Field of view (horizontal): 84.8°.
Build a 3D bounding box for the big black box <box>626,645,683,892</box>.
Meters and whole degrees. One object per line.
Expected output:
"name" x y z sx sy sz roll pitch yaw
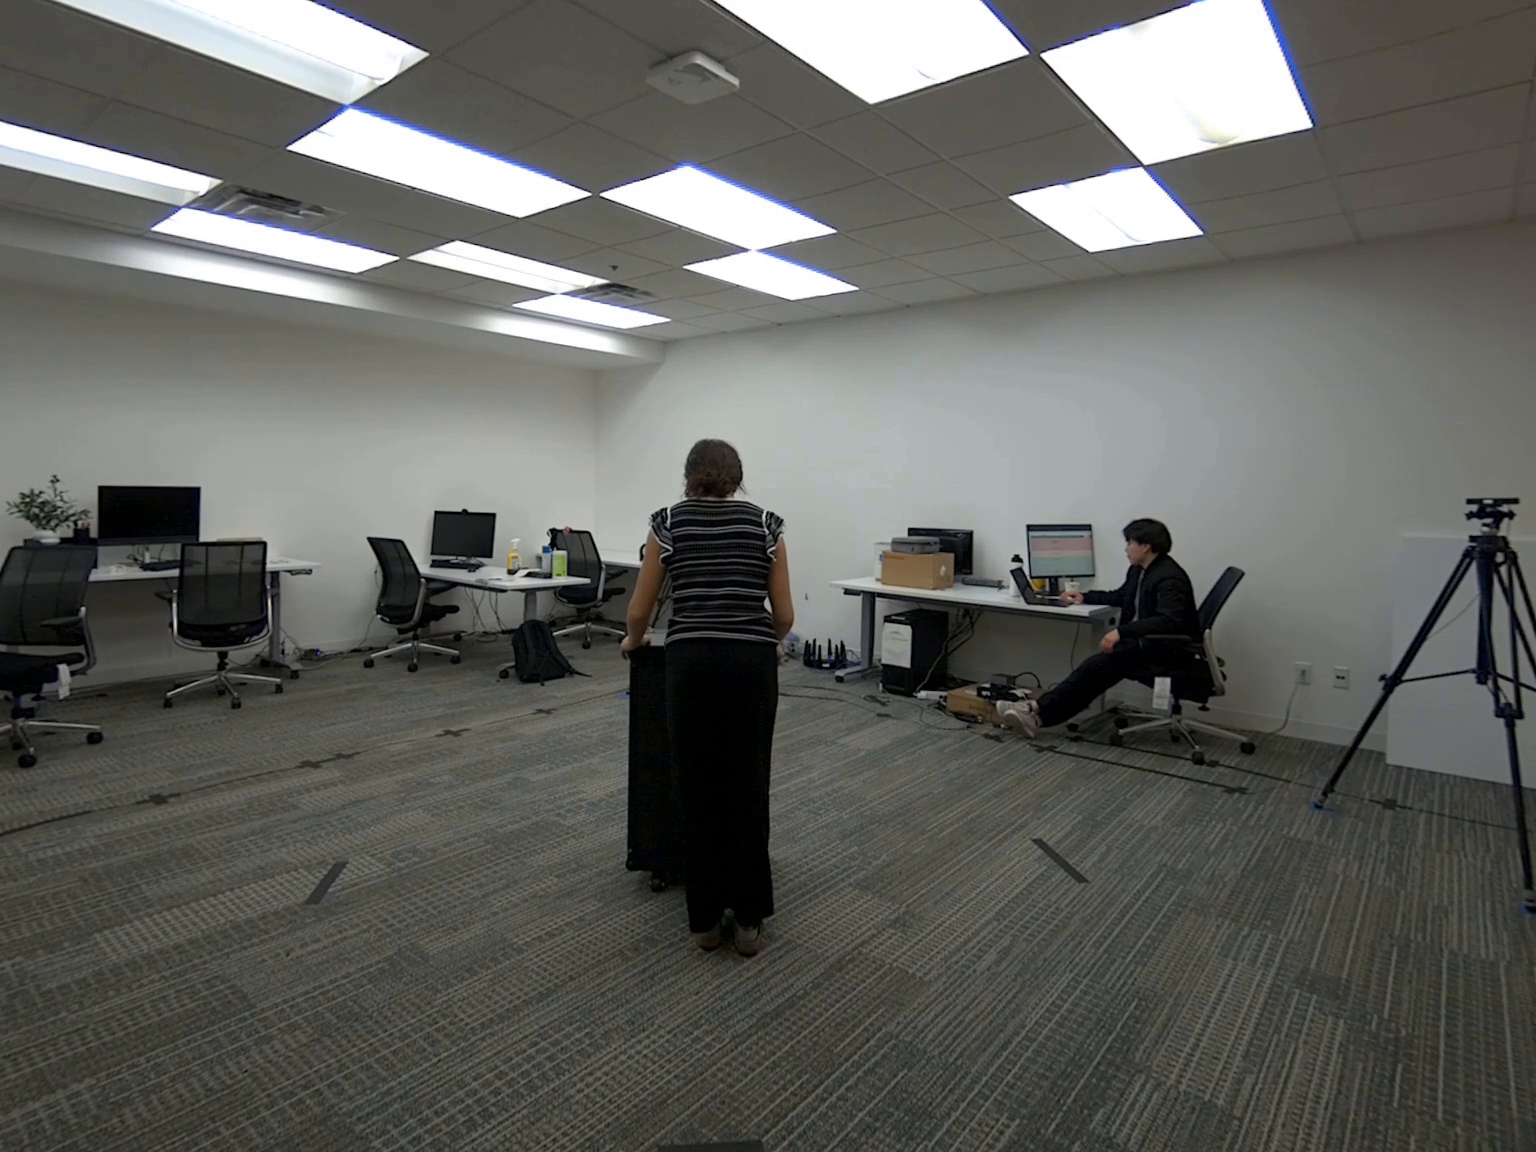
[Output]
"big black box" -0.243 0.647 3.047 0.523 0.859 0.396 2 3 3
